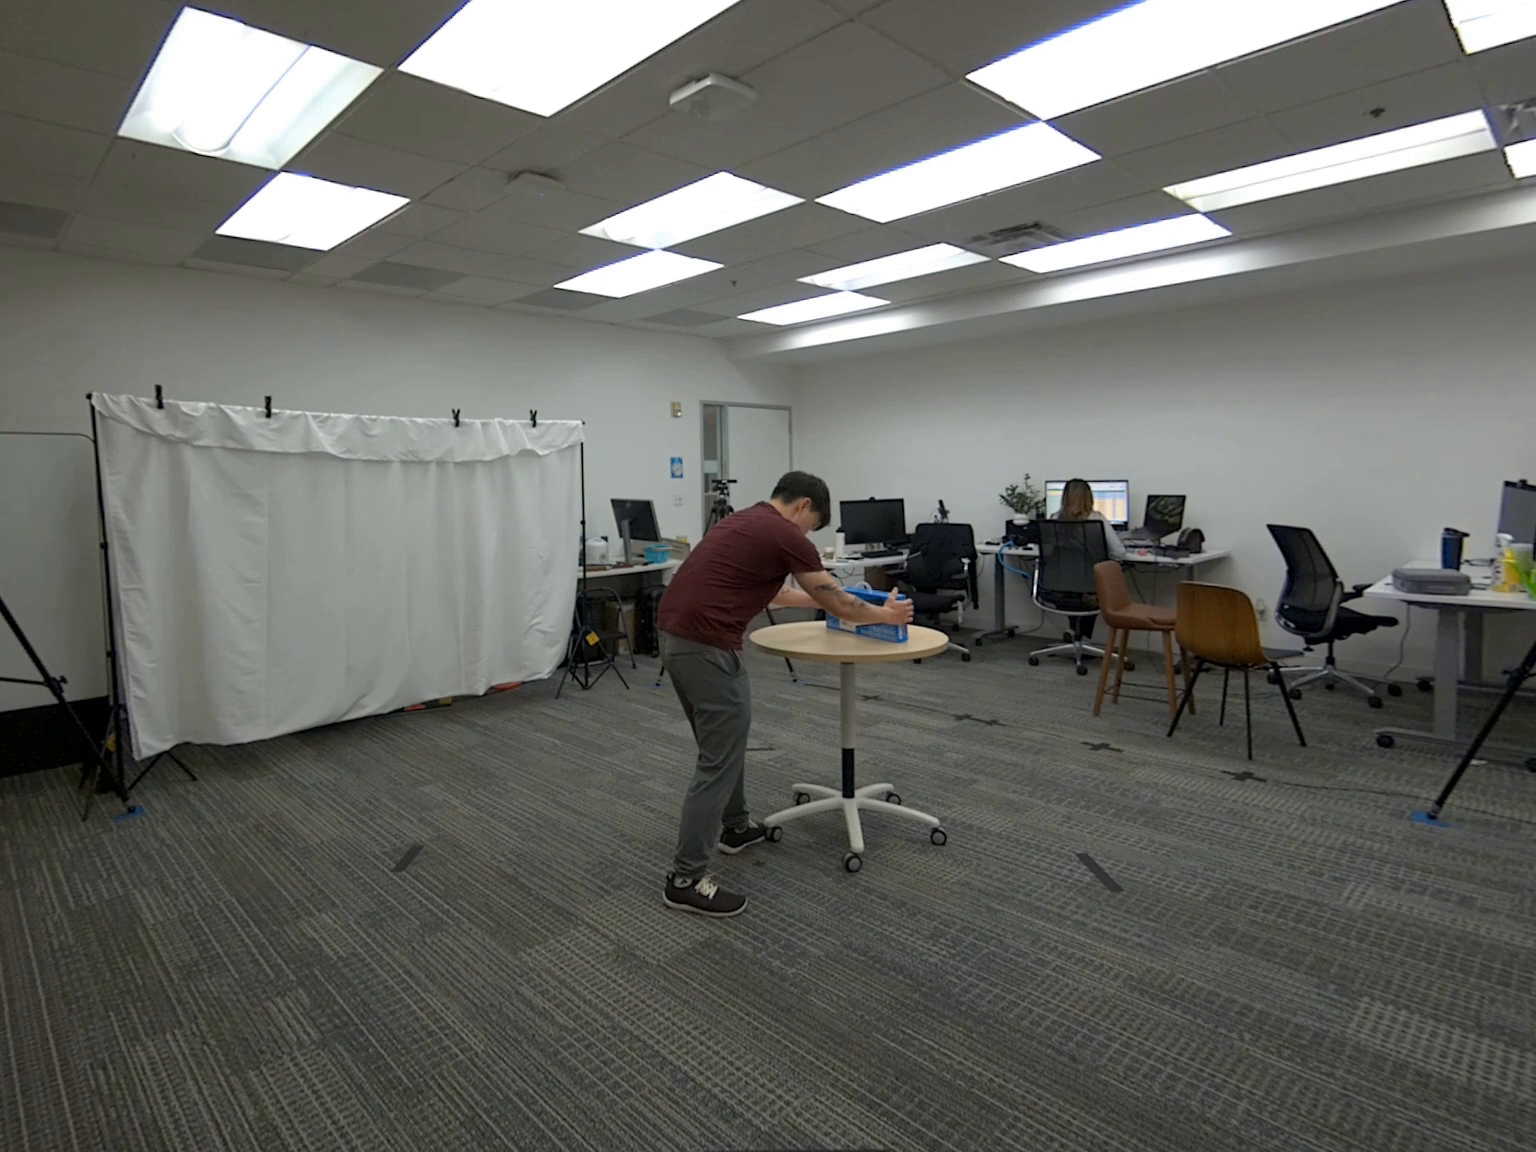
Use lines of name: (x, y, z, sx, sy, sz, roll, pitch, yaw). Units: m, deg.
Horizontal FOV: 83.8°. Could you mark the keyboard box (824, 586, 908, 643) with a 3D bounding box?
keyboard box: (0.387, 0.149, 3.370, 0.058, 0.175, 0.449, -4, 6, -31)
